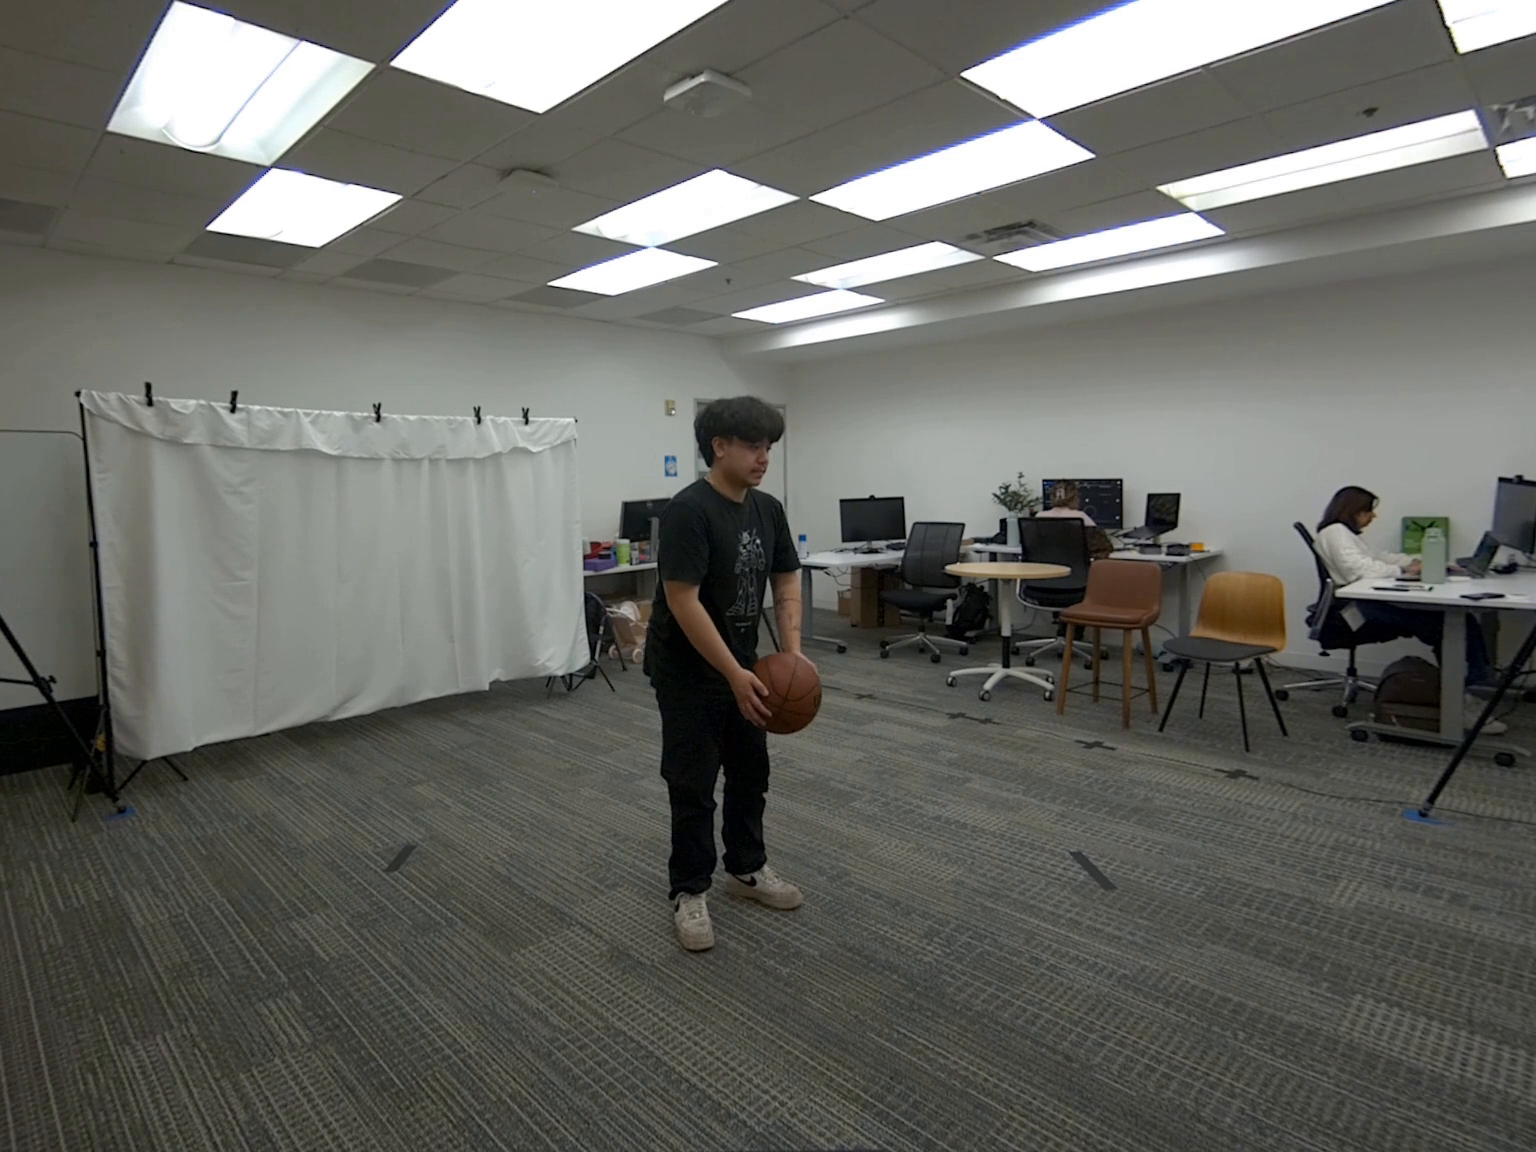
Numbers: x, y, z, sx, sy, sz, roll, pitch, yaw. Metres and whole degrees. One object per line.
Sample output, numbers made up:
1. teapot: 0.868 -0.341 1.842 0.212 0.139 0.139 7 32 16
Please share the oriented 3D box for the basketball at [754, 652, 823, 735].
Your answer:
1. basketball: 0.035 0.352 2.521 0.236 0.235 0.237 -1 5 -2
